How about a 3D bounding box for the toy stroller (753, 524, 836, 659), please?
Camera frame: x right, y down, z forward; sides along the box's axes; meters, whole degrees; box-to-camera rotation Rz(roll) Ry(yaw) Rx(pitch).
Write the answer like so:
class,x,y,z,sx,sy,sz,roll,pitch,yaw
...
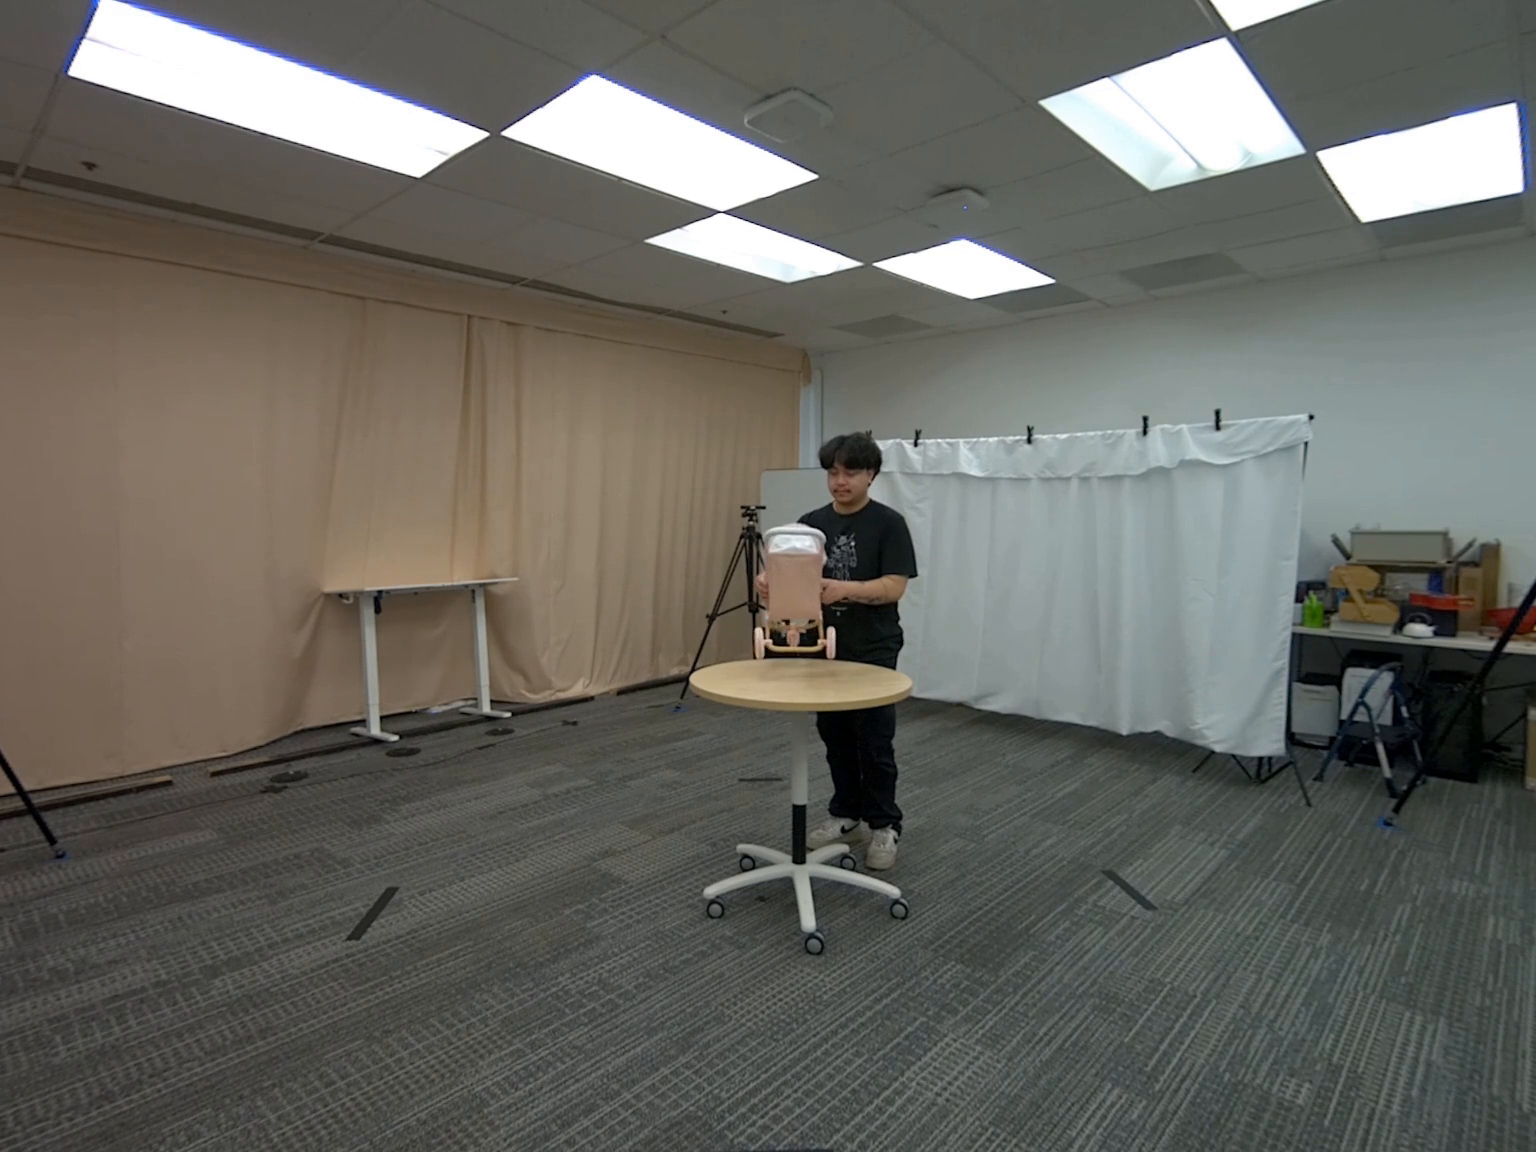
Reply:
class,x,y,z,sx,sy,sz,roll,pitch,yaw
toy stroller,0.102,0.058,2.989,0.283,0.530,0.342,1,14,5
